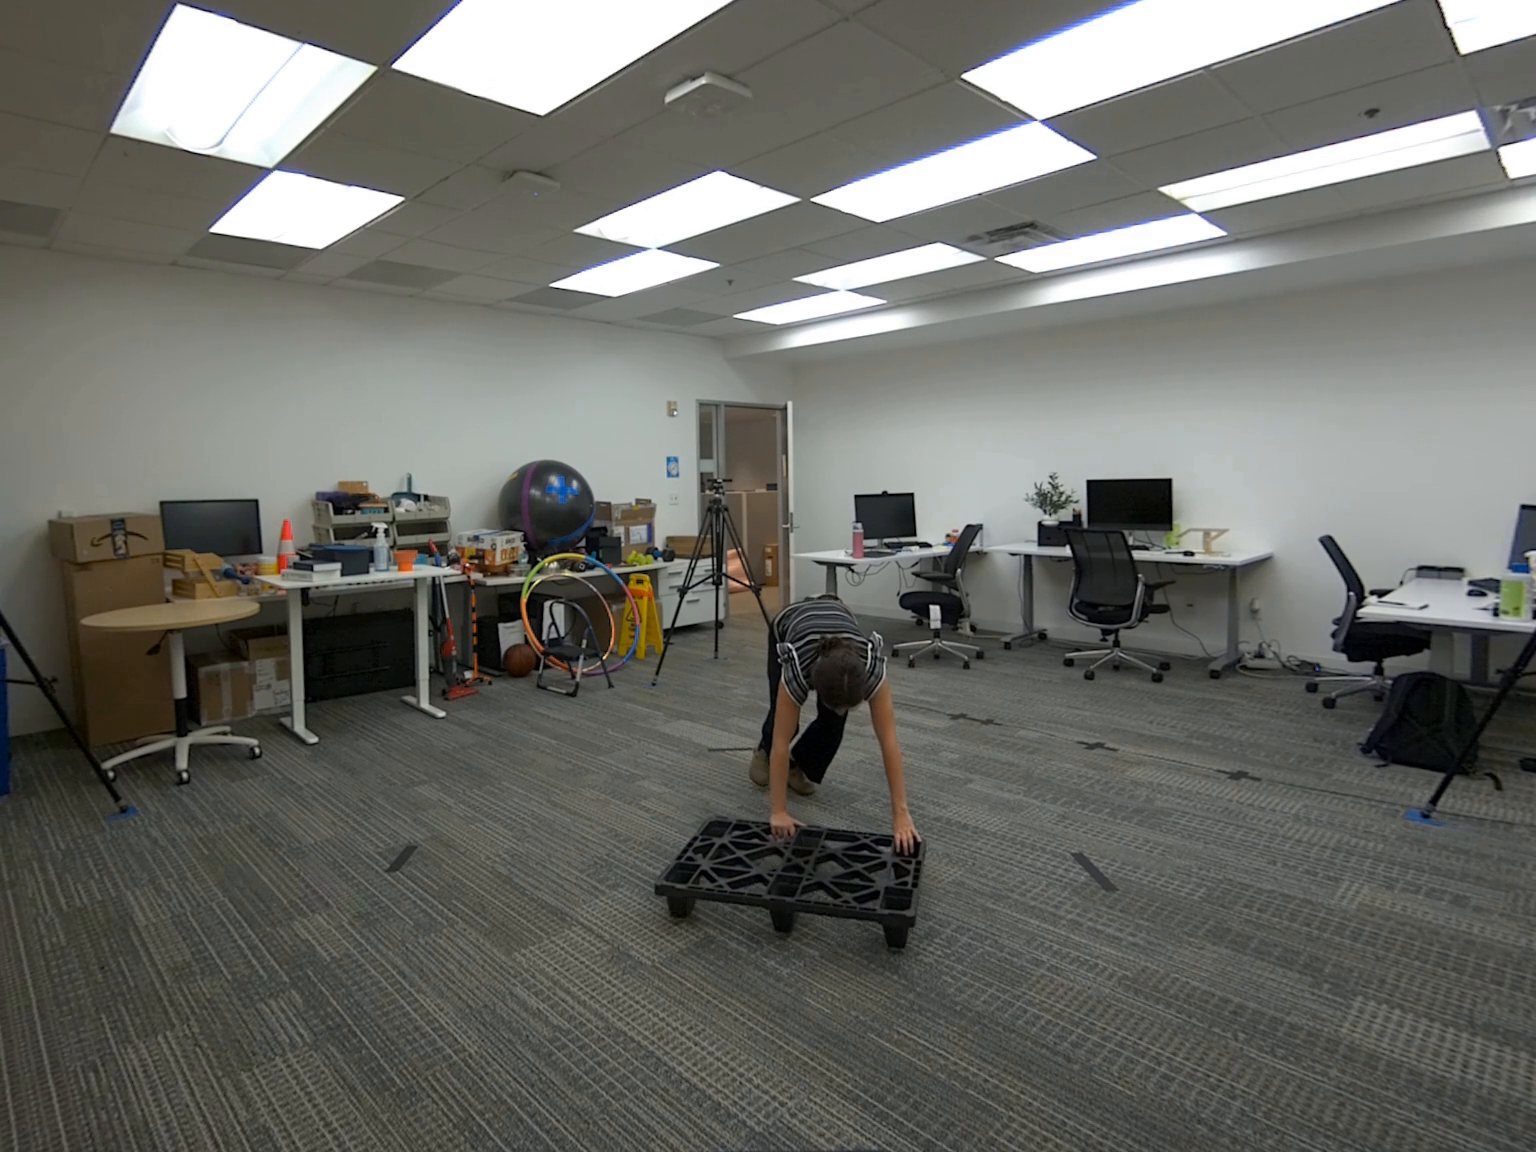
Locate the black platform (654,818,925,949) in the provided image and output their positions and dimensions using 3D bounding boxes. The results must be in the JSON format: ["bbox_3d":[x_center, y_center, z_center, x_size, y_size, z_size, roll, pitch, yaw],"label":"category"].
[{"bbox_3d":[0.101,1.002,2.829,0.818,0.143,0.598,1,6,15],"label":"black platform"}]
